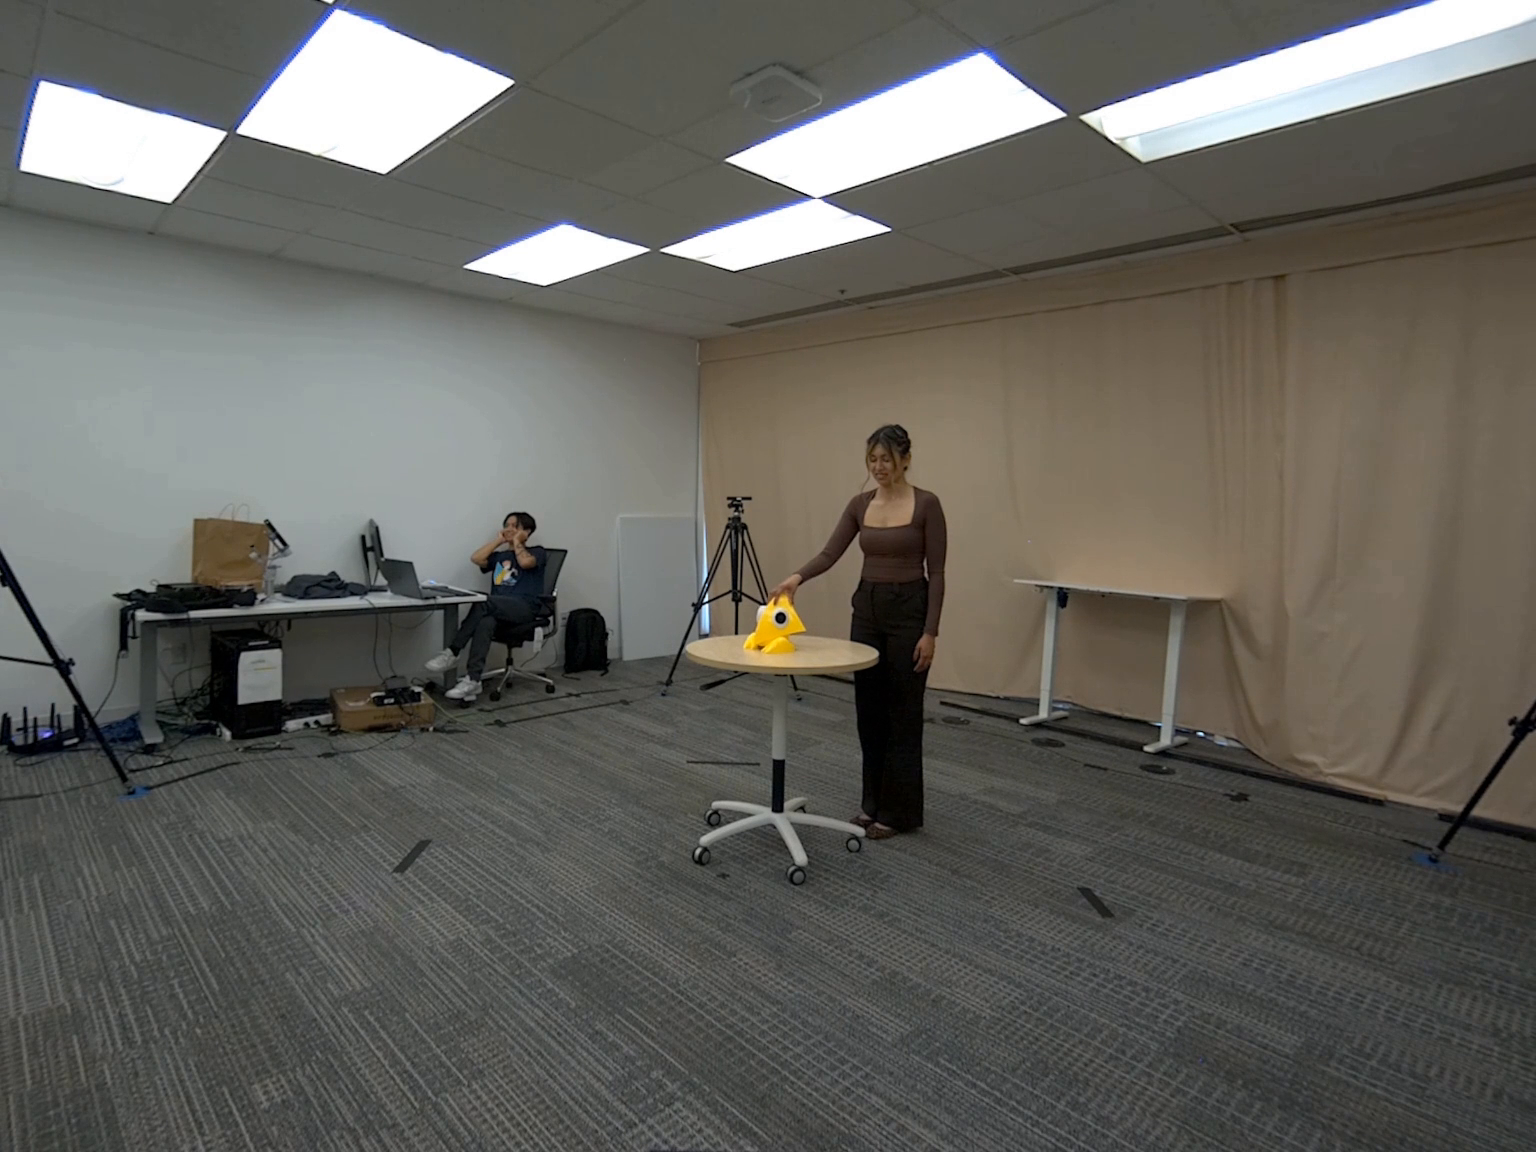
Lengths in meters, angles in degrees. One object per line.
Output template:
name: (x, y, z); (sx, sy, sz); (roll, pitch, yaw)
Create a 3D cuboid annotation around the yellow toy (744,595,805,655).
yellow toy: (0.010, 0.176, 3.357); (0.189, 0.230, 0.210); (-2, 4, -40)
